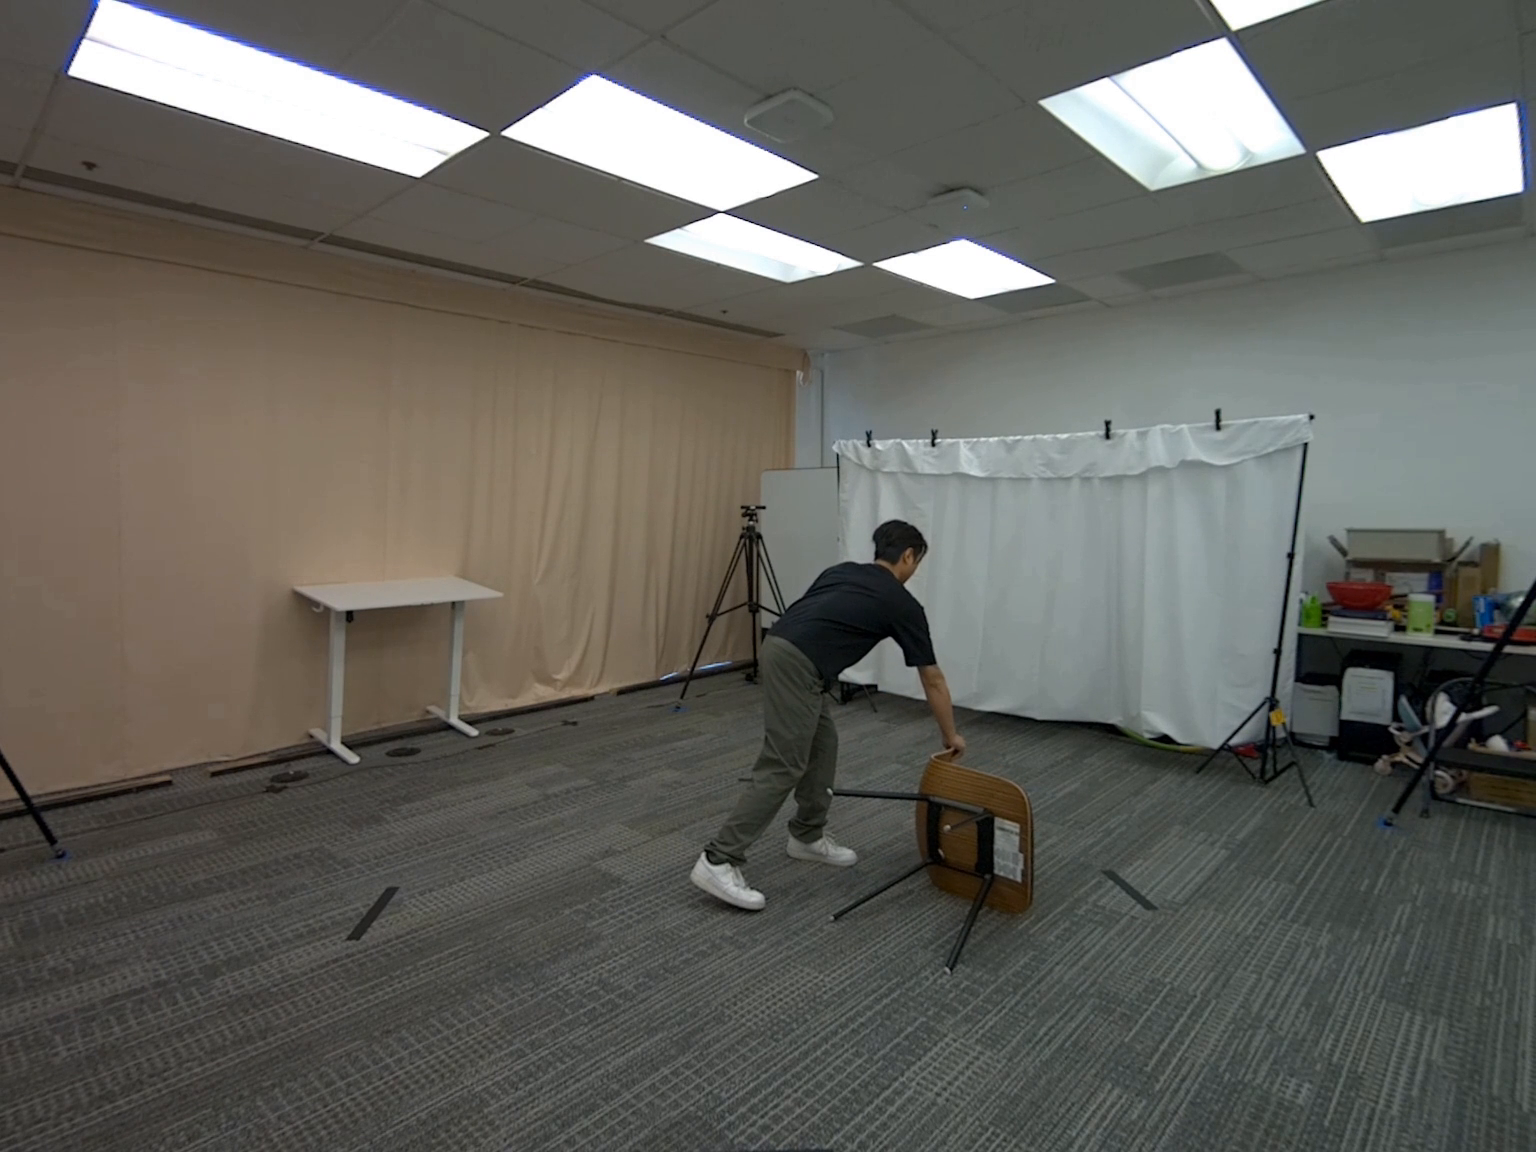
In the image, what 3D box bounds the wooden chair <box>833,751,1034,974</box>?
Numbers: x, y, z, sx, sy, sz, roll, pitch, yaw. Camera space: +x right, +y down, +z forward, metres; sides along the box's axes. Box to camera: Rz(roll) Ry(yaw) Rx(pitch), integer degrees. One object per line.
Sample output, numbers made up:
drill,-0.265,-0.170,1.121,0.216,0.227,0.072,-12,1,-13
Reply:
wooden chair,0.672,0.916,2.928,0.540,0.477,0.851,2,5,40
